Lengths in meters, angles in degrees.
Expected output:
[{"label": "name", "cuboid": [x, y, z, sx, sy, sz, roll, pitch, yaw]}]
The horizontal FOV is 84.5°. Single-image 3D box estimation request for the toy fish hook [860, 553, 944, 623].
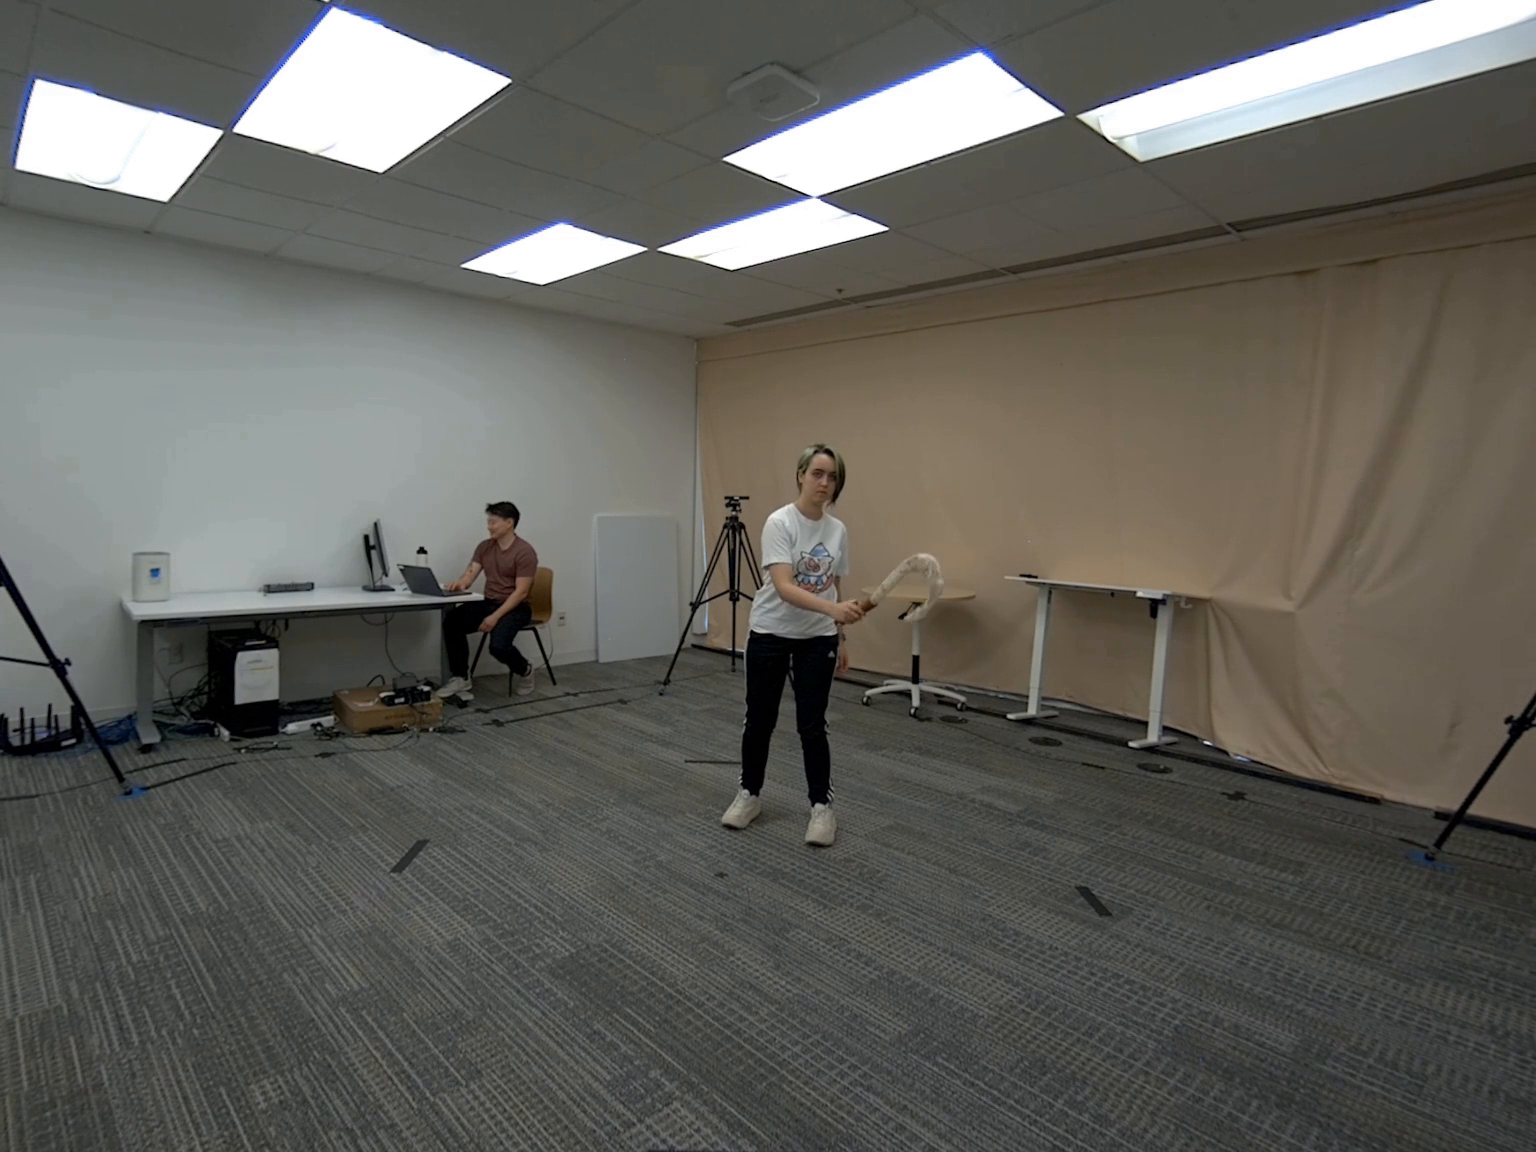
[{"label": "toy fish hook", "cuboid": [0.405, 0.106, 2.988, 0.047, 0.229, 0.509, 19, -39, -34]}]
